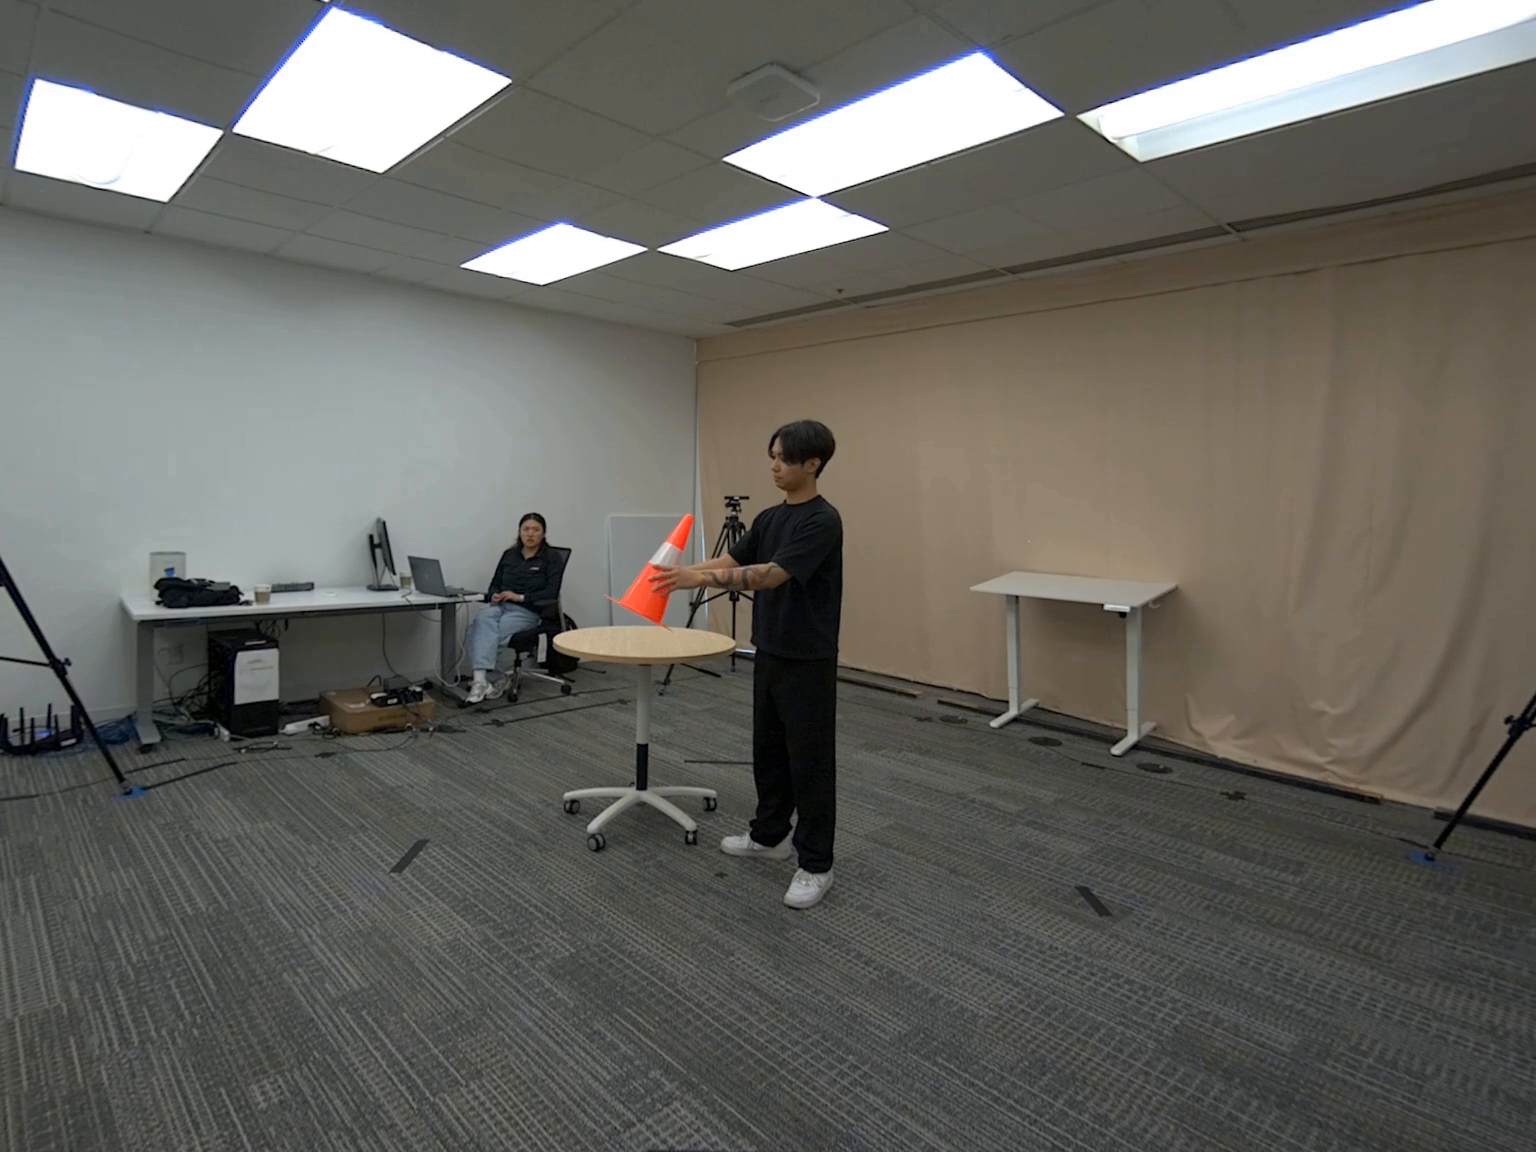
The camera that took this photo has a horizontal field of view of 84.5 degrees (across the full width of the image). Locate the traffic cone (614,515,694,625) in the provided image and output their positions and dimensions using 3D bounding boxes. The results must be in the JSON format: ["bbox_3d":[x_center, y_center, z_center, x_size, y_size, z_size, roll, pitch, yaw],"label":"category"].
[{"bbox_3d":[-0.351,-0.032,2.881,0.209,0.384,0.198,24,-8,37],"label":"traffic cone"}]
